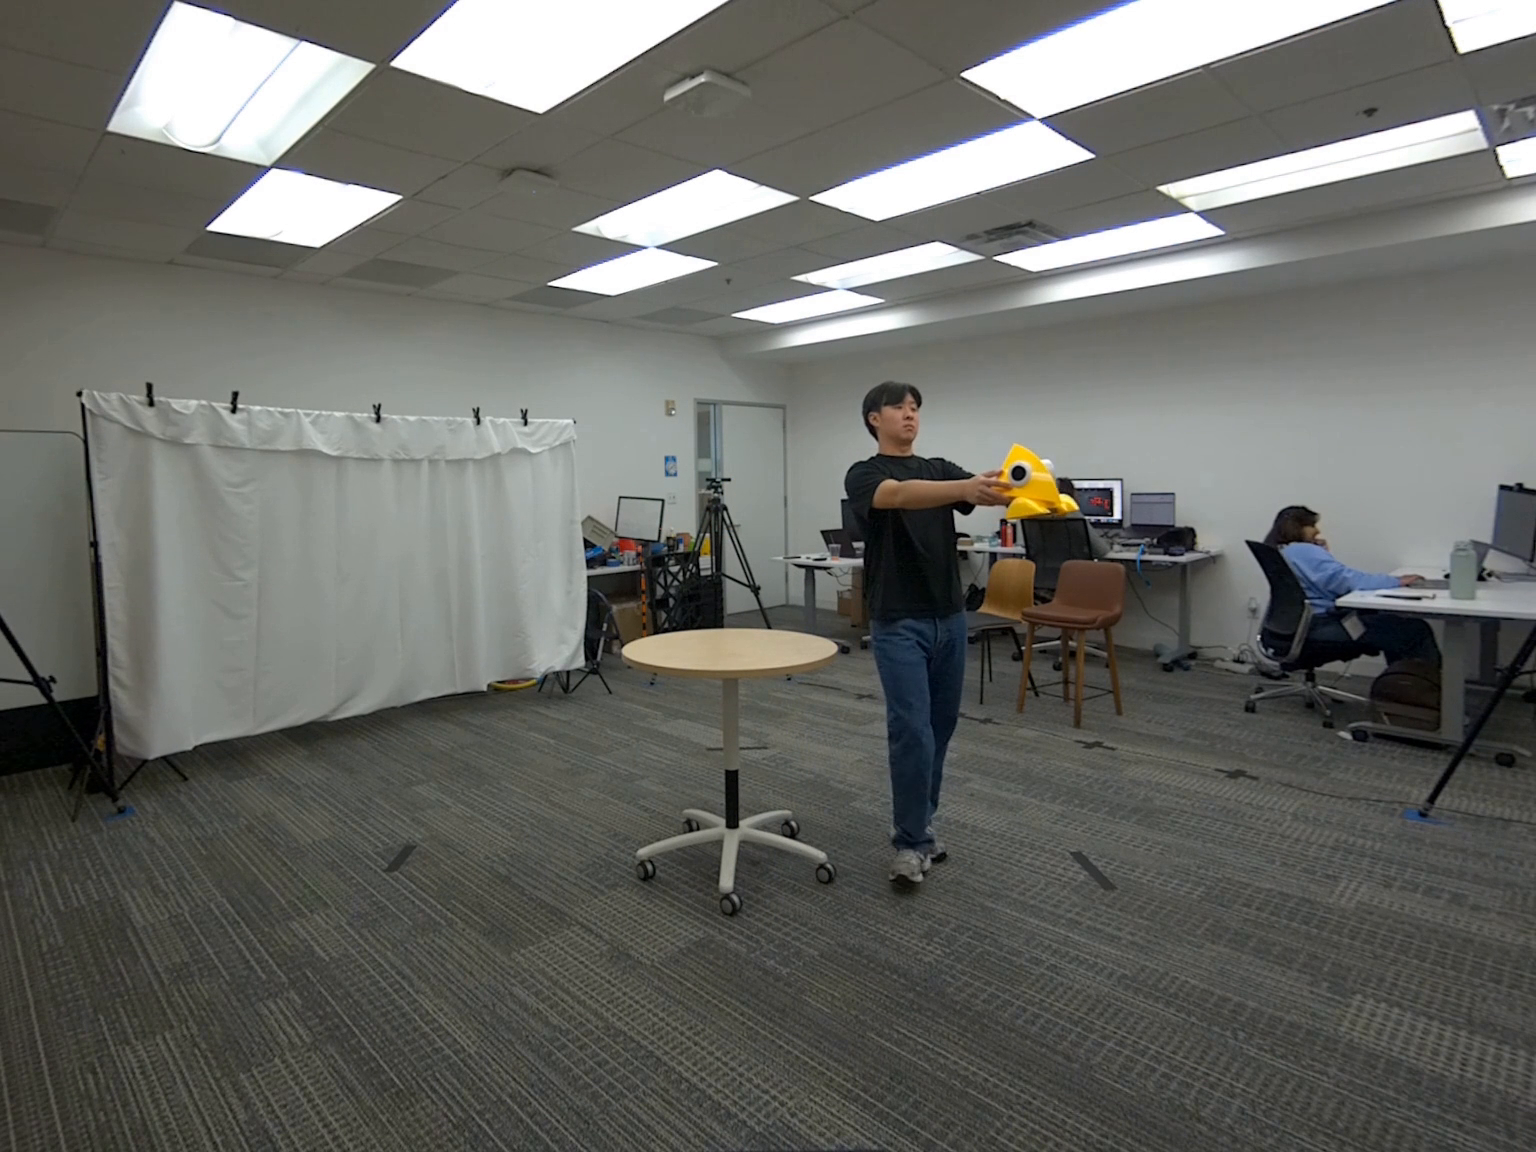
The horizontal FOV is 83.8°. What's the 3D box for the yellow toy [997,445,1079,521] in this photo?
[{"bbox_3d":[0.800,-0.294,2.545,0.201,0.232,0.196,-5,-4,-22],"label":"yellow toy"}]
